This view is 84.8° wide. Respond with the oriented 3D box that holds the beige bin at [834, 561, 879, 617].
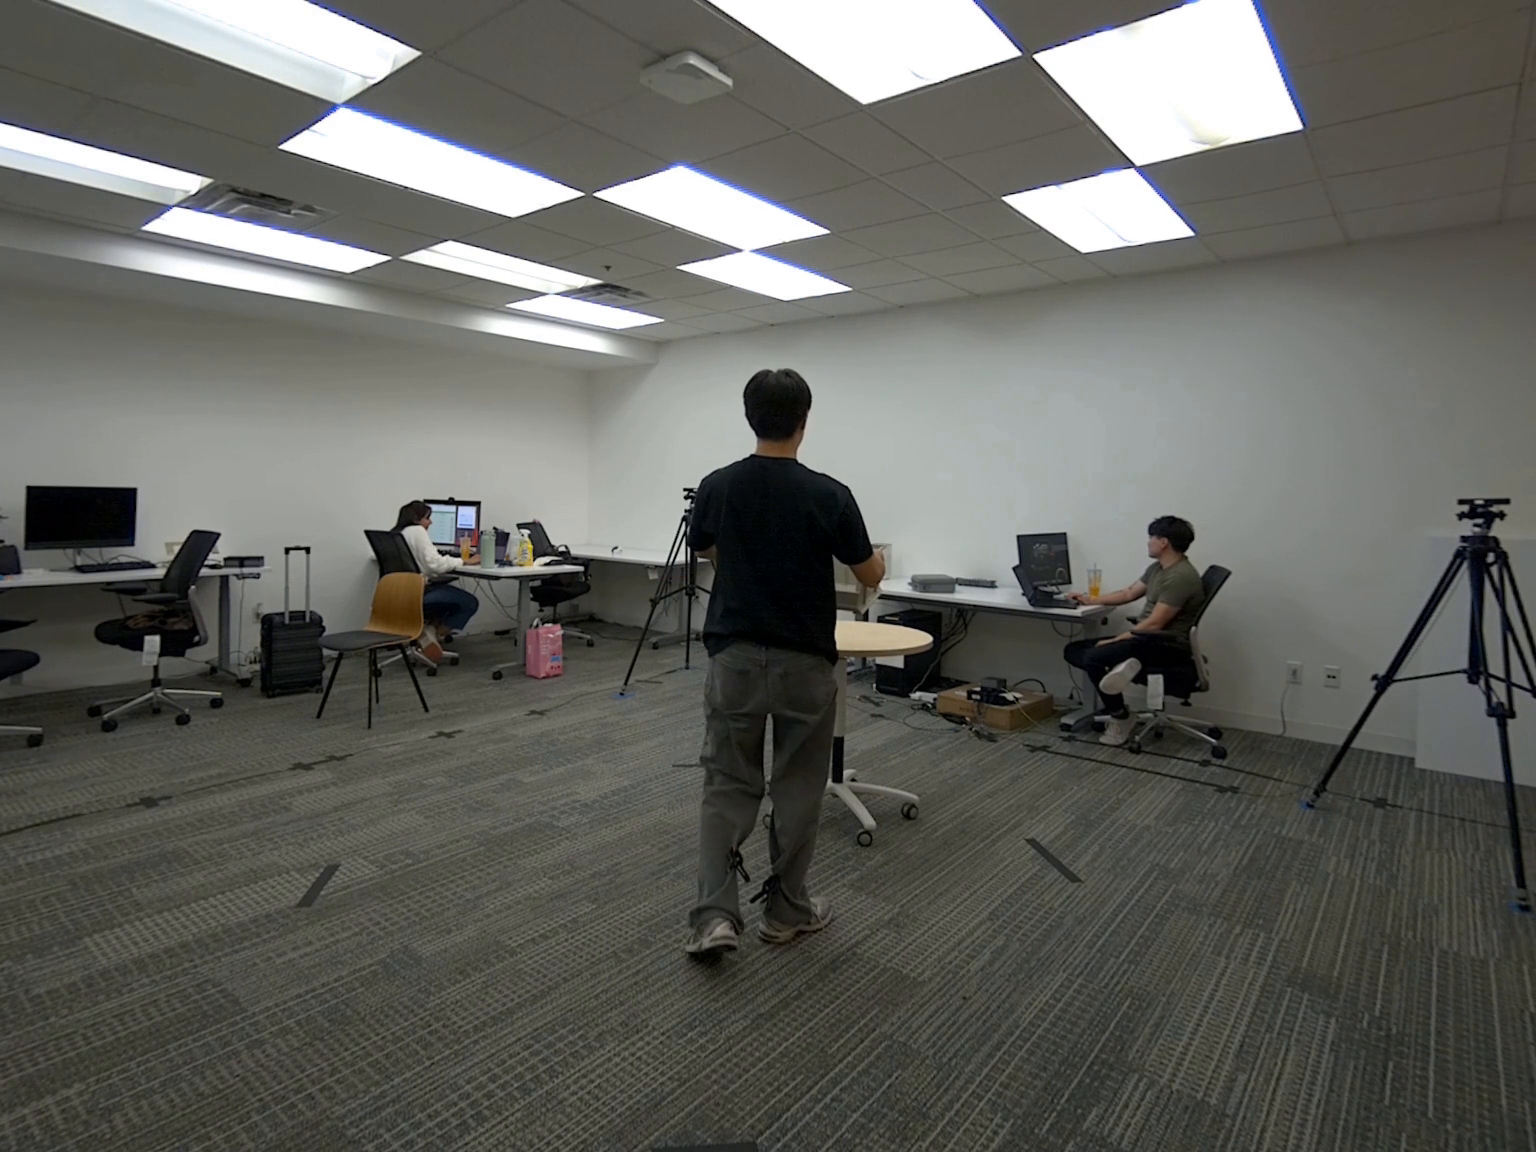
[{"bbox_3d":[0.165,-0.002,3.059,0.433,0.187,0.372,4,13,23],"label":"beige bin"}]
